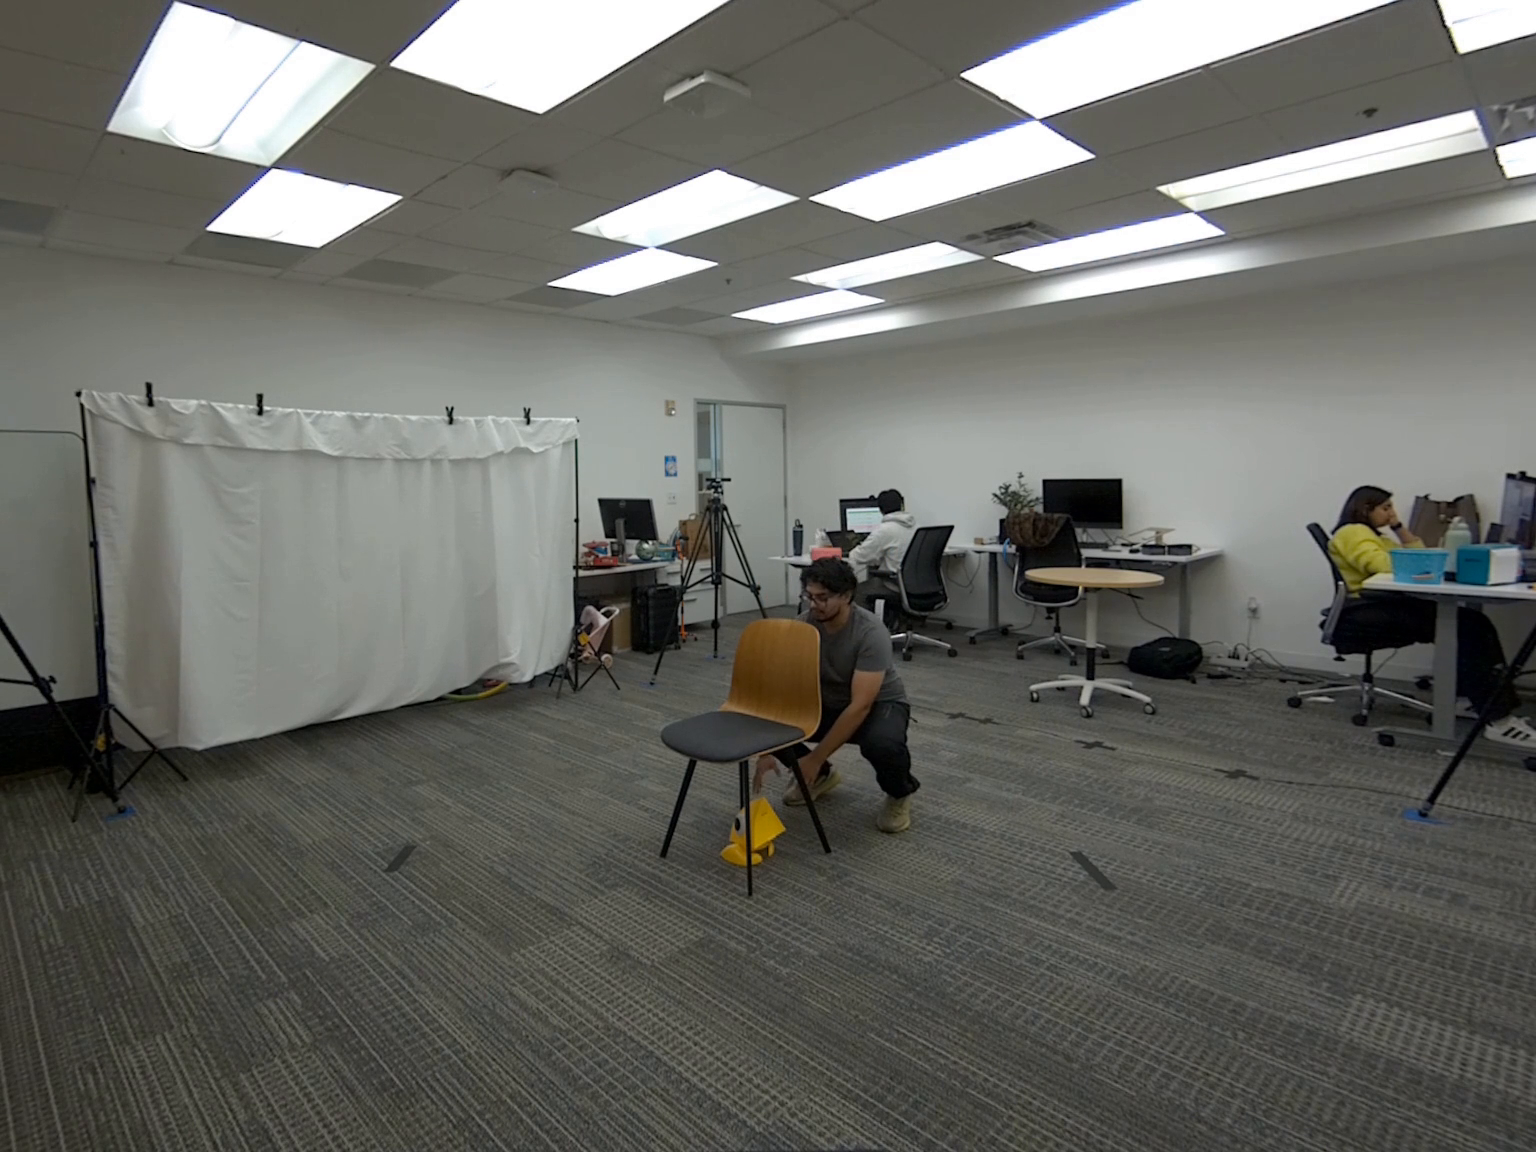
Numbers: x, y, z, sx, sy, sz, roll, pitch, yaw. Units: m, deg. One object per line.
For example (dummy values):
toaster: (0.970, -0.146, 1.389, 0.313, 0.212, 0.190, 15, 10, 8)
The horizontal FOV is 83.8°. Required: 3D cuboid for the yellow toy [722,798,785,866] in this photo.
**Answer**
yellow toy: (-0.062, 0.919, 3.174, 0.199, 0.230, 0.199, 4, 6, 36)
